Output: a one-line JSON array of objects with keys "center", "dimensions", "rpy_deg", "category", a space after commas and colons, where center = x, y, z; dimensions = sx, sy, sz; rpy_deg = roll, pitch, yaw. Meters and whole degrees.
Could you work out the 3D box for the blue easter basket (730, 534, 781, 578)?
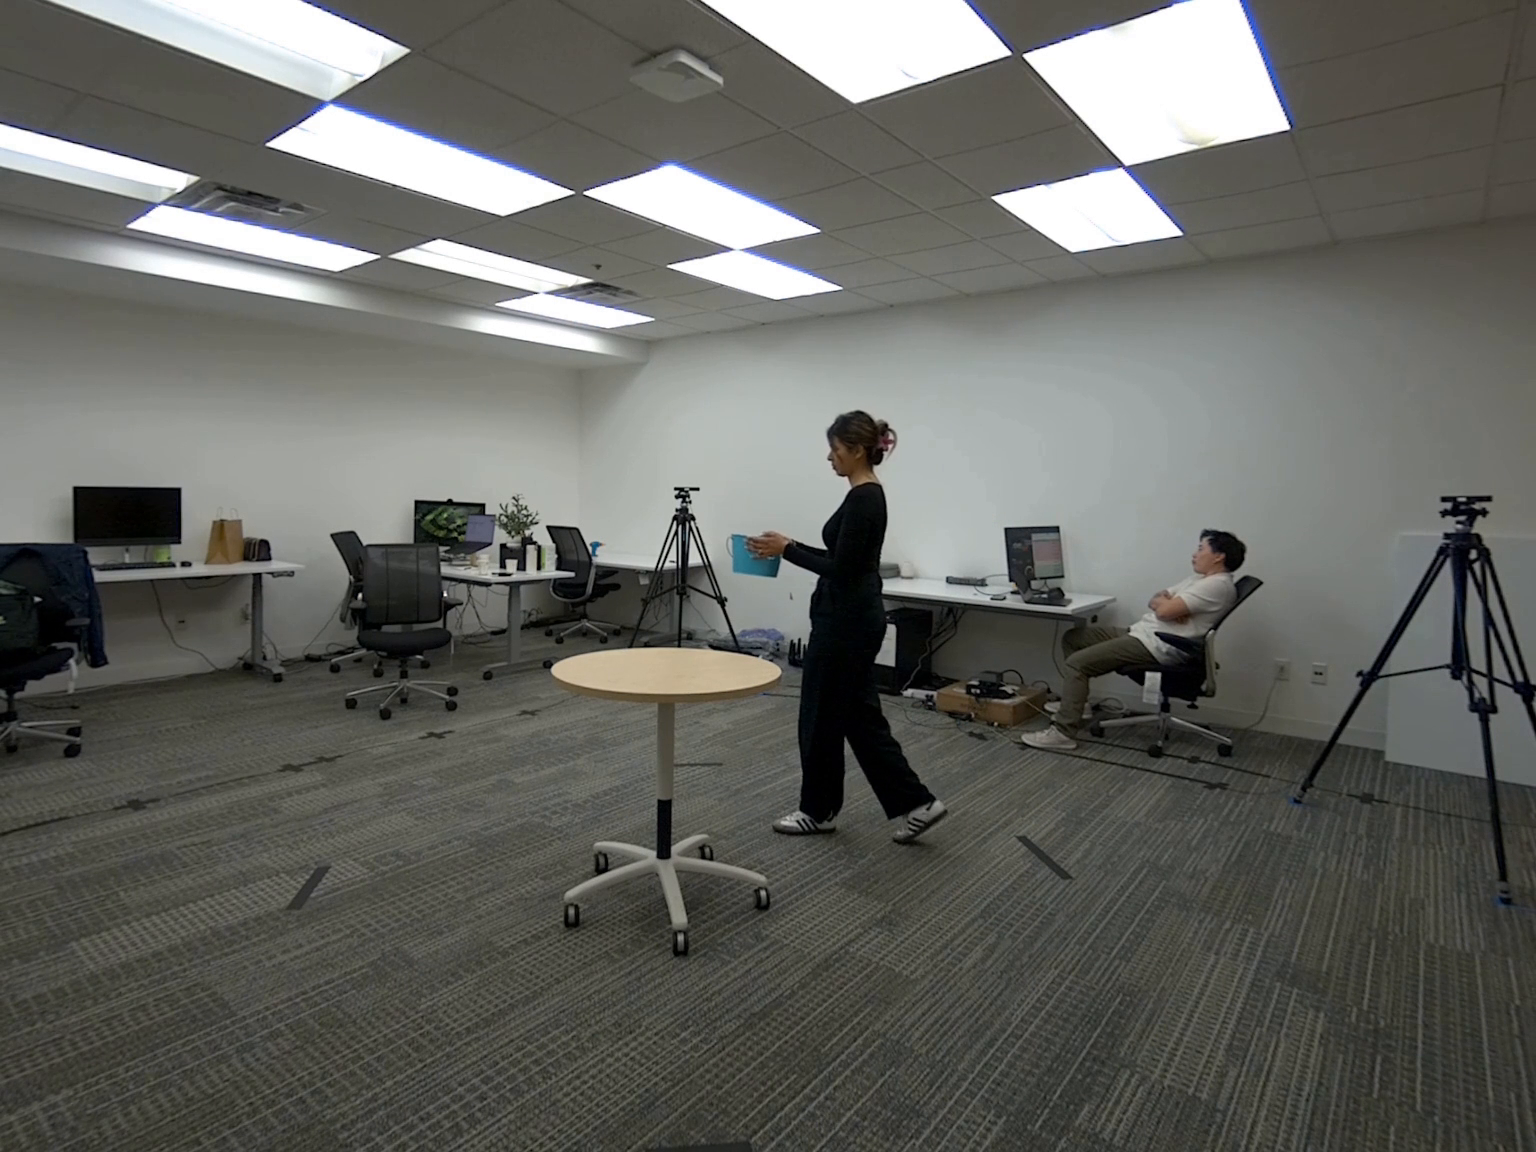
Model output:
[{"center": [-0.038, -0.081, 3.444], "dimensions": [0.243, 0.156, 0.244], "rpy_deg": [6, 0, -2], "category": "blue easter basket"}]
